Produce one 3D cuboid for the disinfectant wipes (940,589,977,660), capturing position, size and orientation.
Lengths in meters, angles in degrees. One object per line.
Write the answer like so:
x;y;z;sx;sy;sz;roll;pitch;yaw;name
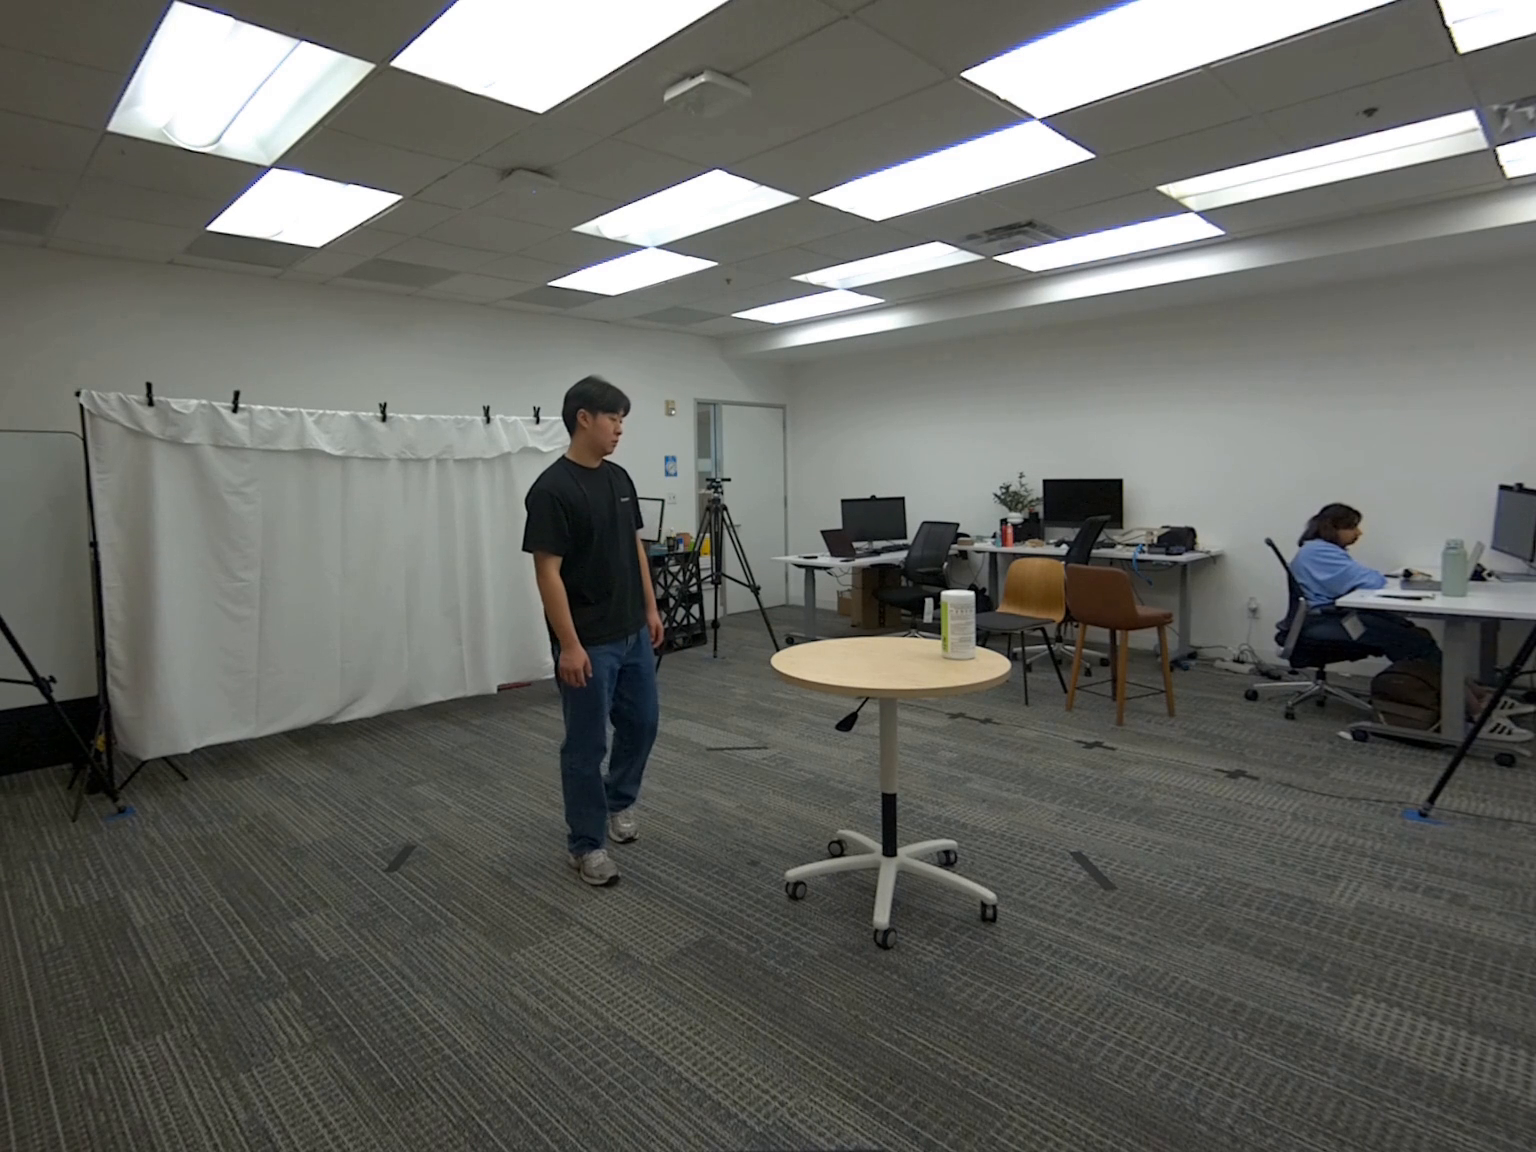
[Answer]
0.625;0.162;2.802;0.118;0.216;0.118;-1;7;-2;disinfectant wipes
